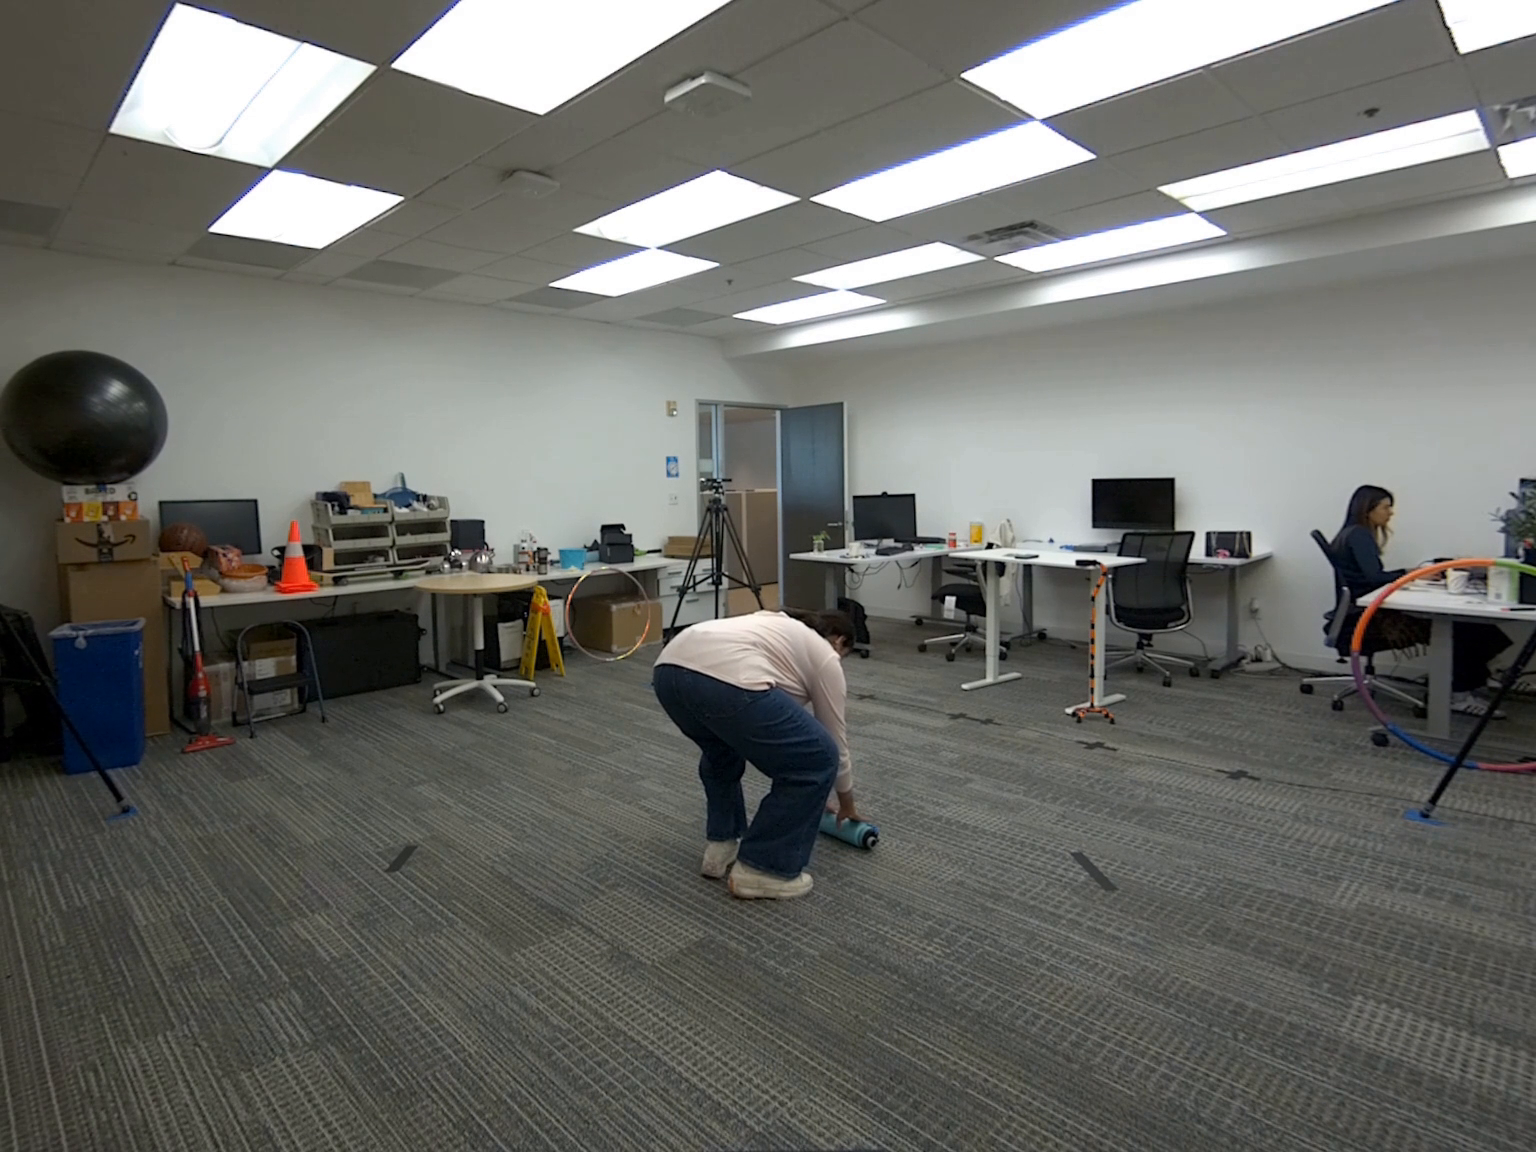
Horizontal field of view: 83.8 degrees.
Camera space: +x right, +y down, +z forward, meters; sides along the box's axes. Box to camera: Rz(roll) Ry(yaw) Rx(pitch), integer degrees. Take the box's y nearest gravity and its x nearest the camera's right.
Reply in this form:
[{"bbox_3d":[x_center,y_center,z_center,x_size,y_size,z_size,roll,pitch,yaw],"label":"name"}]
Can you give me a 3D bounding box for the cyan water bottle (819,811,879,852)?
[{"bbox_3d":[0.307,0.972,3.288,0.090,0.092,0.292,-5,7,-40],"label":"cyan water bottle"}]
